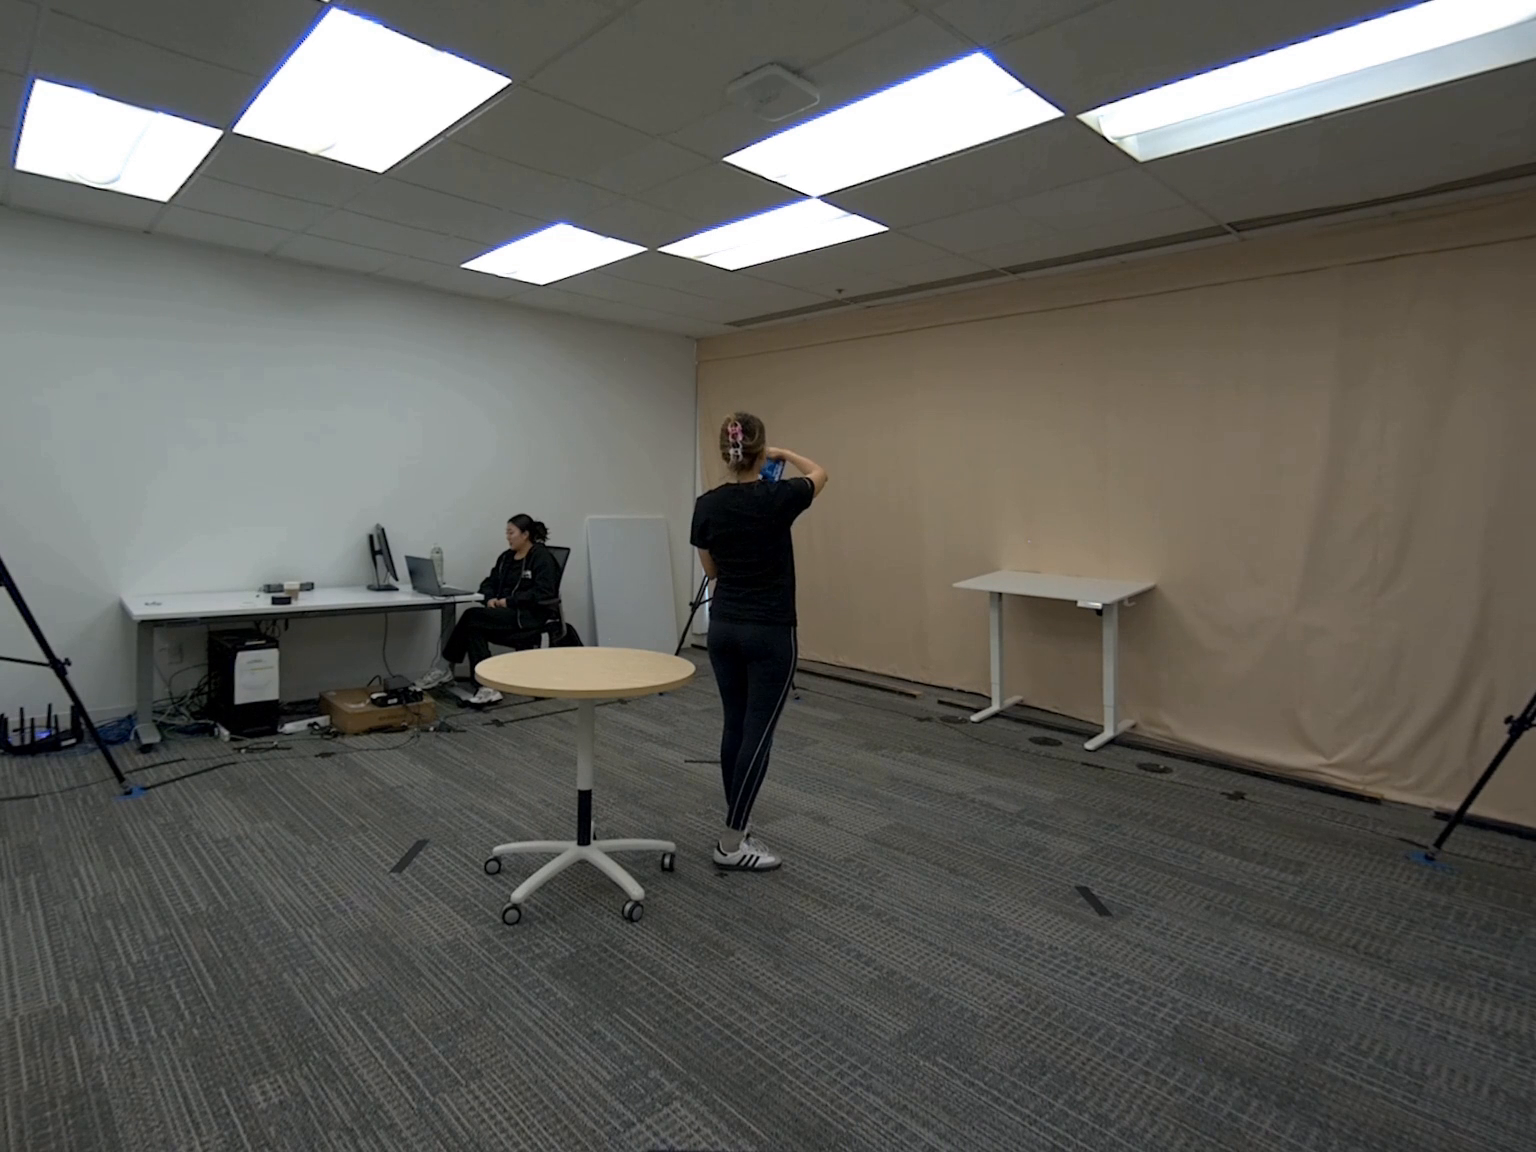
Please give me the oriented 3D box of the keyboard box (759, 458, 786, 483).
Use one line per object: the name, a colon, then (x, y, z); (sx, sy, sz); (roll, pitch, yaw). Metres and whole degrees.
keyboard box: (-0.063, -0.328, 3.723); (0.177, 0.435, 0.059); (17, 7, 5)
